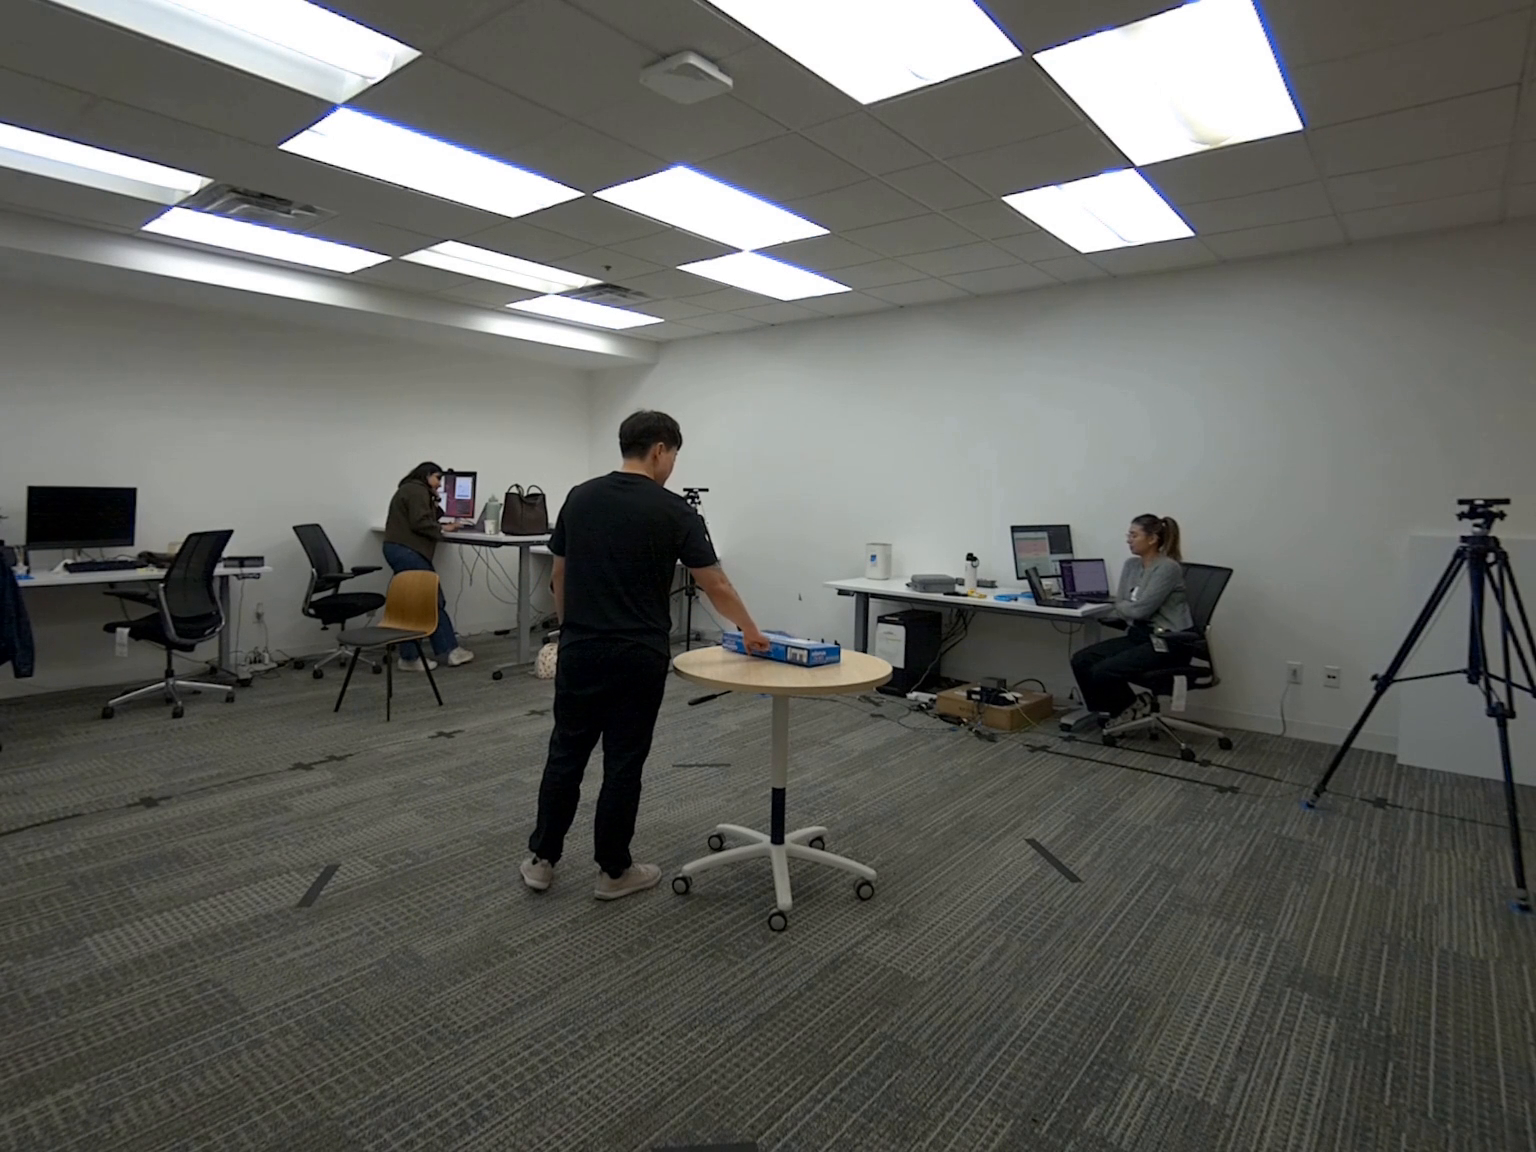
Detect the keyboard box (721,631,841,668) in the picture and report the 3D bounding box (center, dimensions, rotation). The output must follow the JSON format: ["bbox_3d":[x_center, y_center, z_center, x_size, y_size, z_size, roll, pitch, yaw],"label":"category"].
[{"bbox_3d":[0.040,0.258,3.115,0.452,0.059,0.170,7,5,45],"label":"keyboard box"}]
